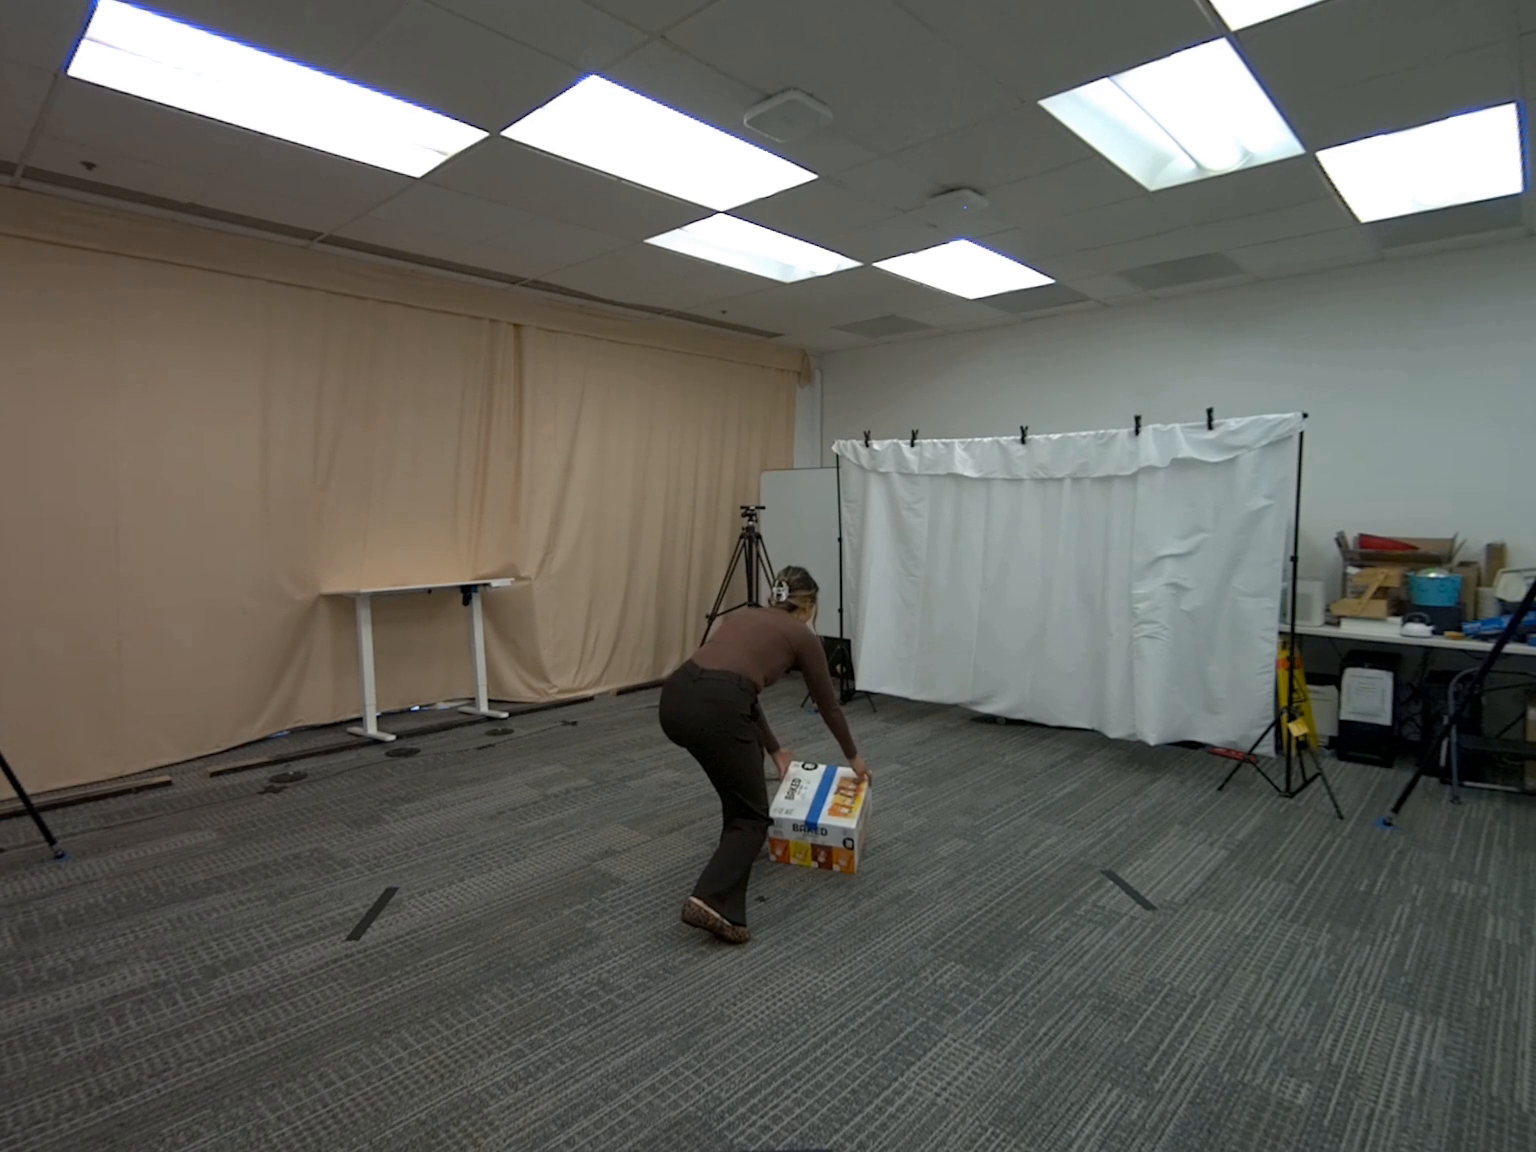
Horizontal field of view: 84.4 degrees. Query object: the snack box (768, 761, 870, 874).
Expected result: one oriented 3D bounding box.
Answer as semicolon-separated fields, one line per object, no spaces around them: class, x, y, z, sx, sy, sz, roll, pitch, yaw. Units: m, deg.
snack box;0.221;0.960;3.388;0.347;0.203;0.402;3;20;17
